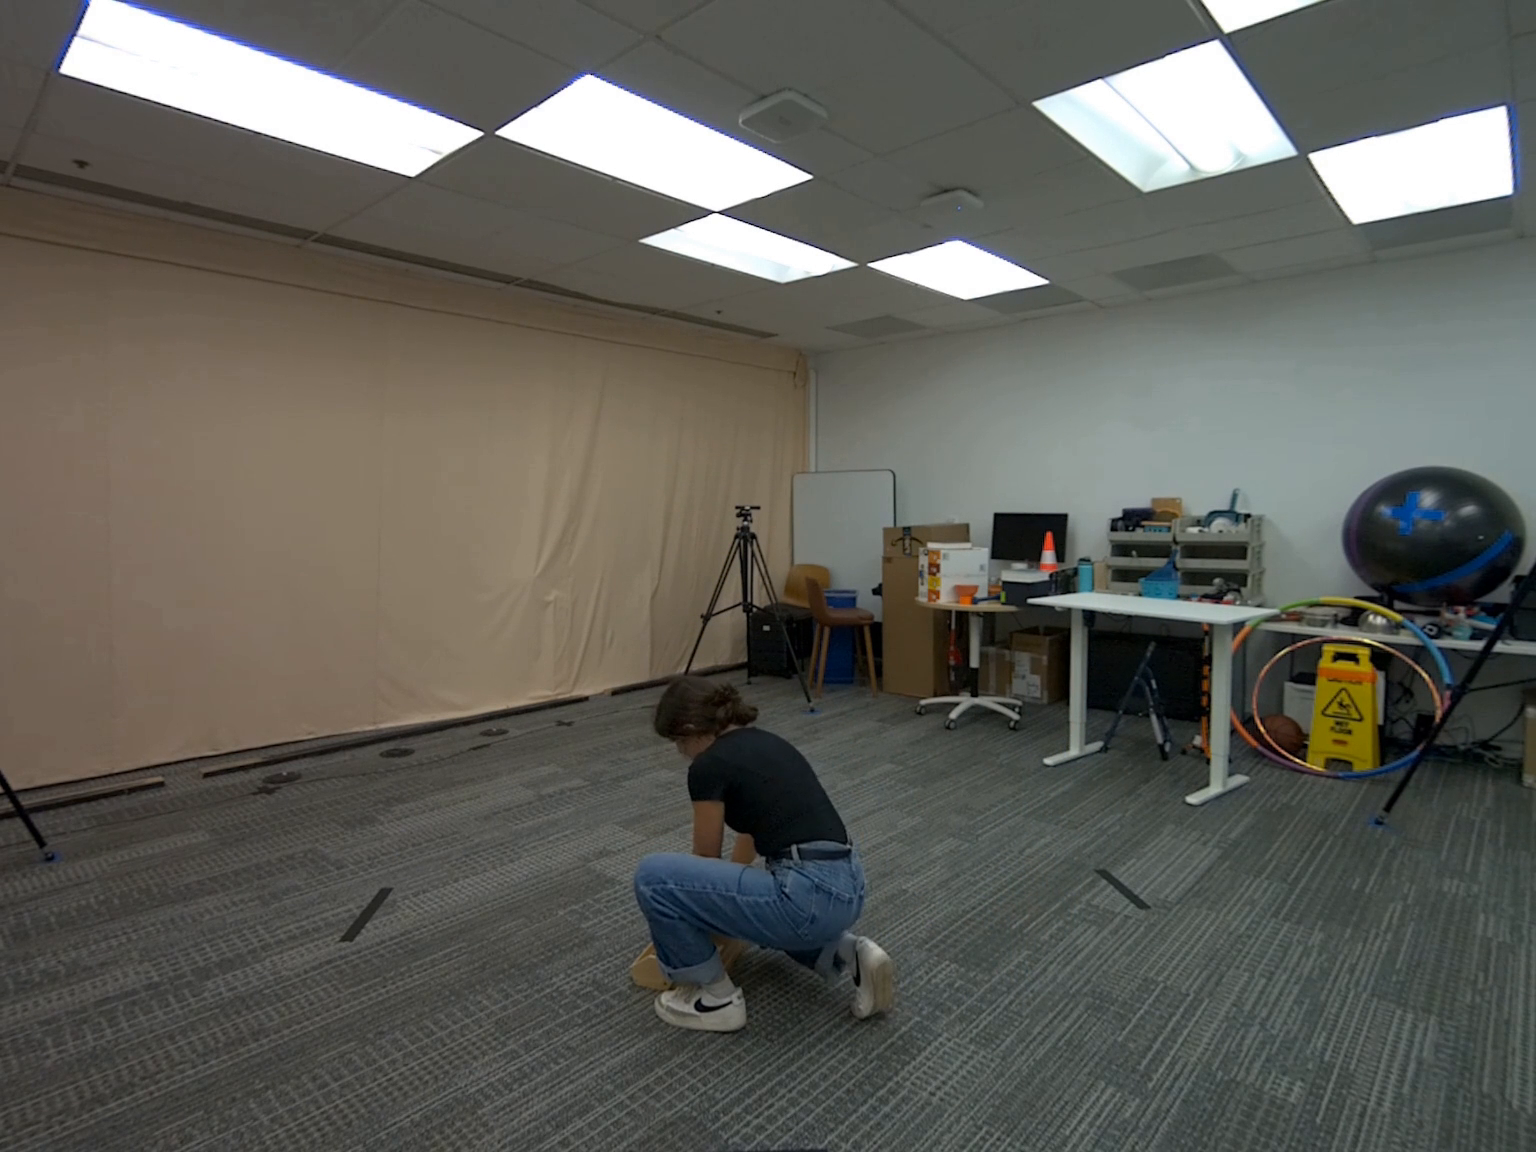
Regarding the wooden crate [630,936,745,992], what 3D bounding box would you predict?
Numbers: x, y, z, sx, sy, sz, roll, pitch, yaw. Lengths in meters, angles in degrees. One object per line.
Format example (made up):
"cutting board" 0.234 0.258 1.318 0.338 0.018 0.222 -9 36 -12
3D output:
"wooden crate" -0.216 1.051 2.534 0.308 0.273 0.319 2 4 18
